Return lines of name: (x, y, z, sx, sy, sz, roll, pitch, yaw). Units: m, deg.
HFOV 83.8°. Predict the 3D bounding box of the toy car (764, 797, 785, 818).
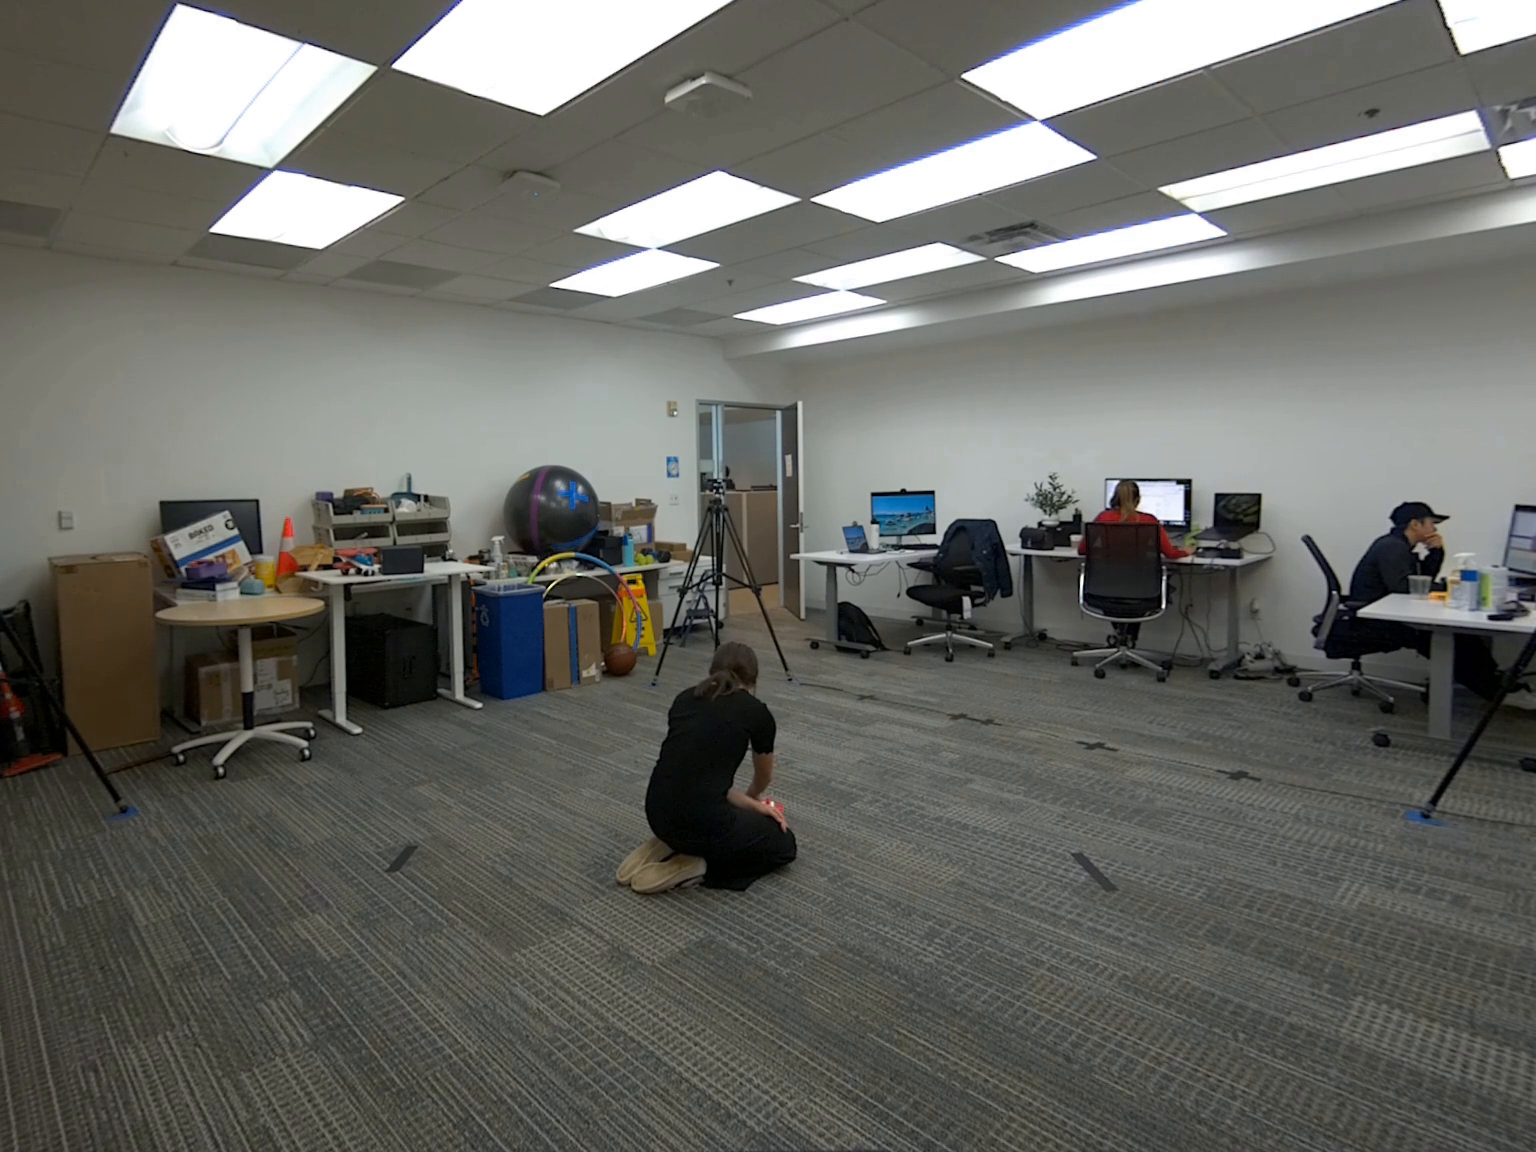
toy car: (-0.048, 0.971, 3.498, 0.255, 0.083, 0.130, -11, 4, 2)
